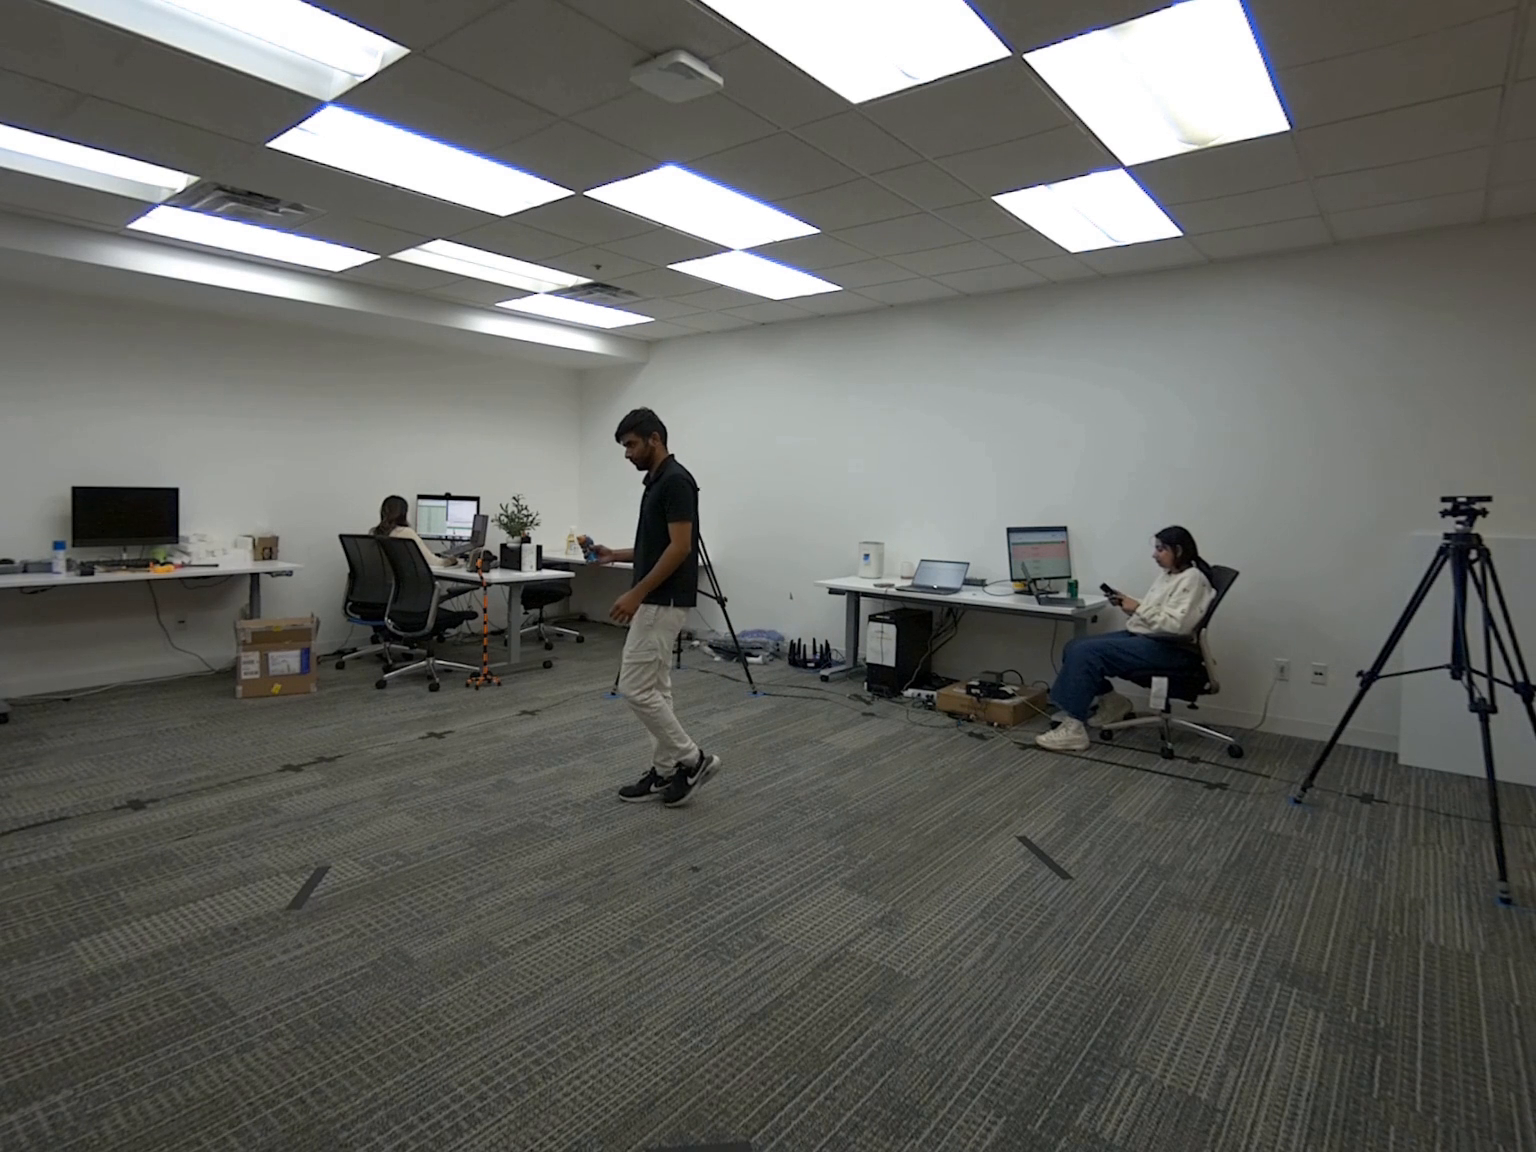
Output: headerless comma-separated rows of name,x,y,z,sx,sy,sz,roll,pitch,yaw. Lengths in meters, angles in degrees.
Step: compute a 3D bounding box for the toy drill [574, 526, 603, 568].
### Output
toy drill,-0.806,-0.132,3.848,0.061,0.149,0.167,-29,-11,-2
